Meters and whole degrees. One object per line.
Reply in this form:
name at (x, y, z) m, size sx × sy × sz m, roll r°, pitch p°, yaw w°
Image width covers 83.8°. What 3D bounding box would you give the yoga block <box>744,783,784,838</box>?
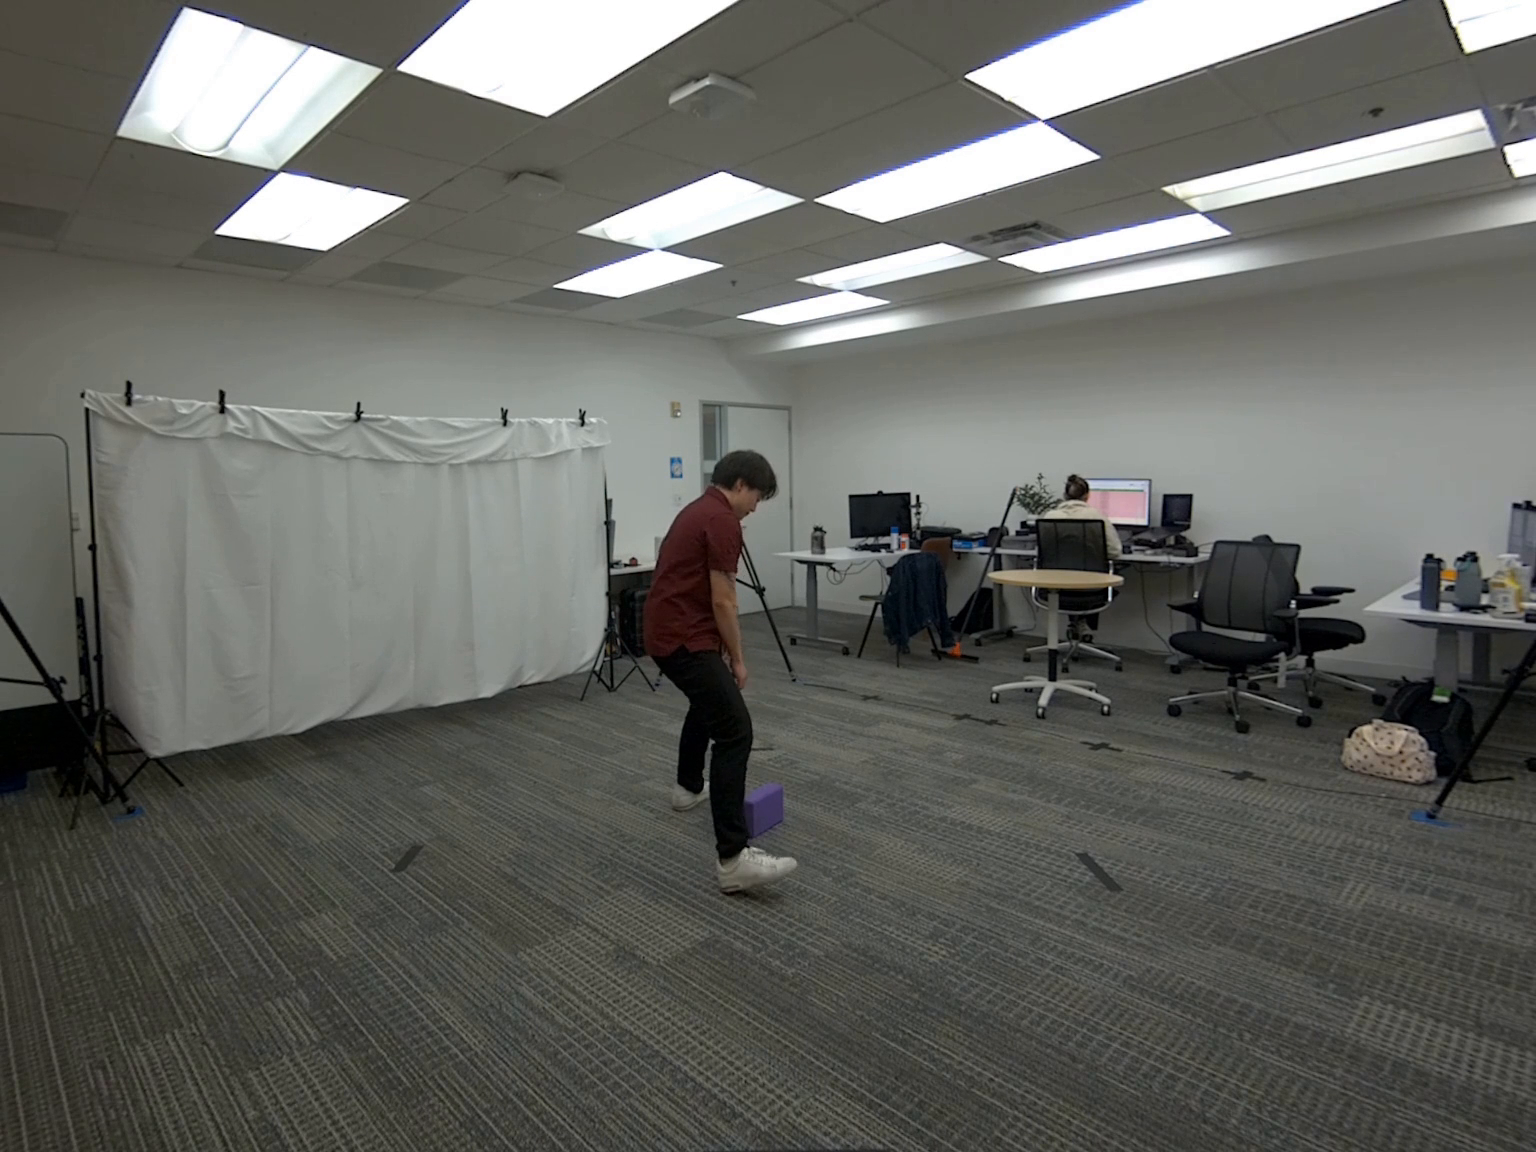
yoga block at (-0.025, 0.932, 3.424) m, size 0.078 × 0.148 × 0.224 m, roll 2°, pitch 6°, yaw 34°
